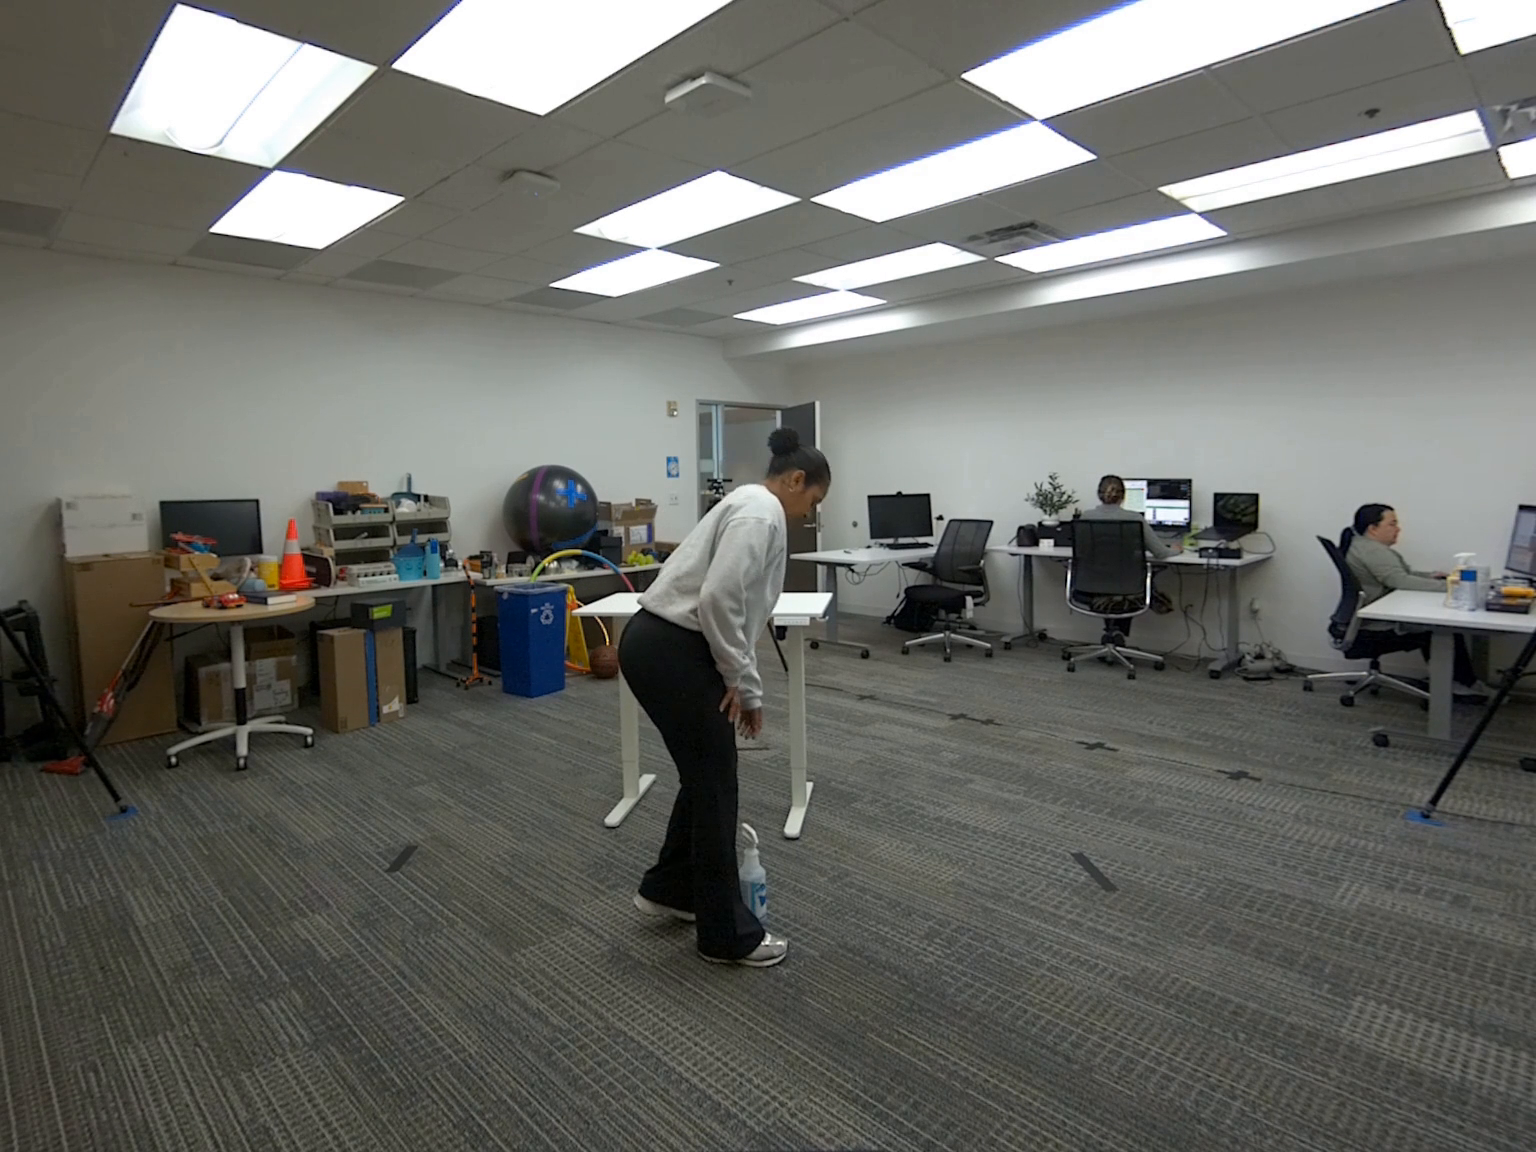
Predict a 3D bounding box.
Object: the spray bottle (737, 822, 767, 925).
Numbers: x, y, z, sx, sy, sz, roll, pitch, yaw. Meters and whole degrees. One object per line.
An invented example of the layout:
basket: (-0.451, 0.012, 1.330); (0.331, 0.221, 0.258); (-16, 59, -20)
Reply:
spray bottle: (-0.051, 0.947, 2.696); (0.087, 0.296, 0.090); (-1, 5, 0)
